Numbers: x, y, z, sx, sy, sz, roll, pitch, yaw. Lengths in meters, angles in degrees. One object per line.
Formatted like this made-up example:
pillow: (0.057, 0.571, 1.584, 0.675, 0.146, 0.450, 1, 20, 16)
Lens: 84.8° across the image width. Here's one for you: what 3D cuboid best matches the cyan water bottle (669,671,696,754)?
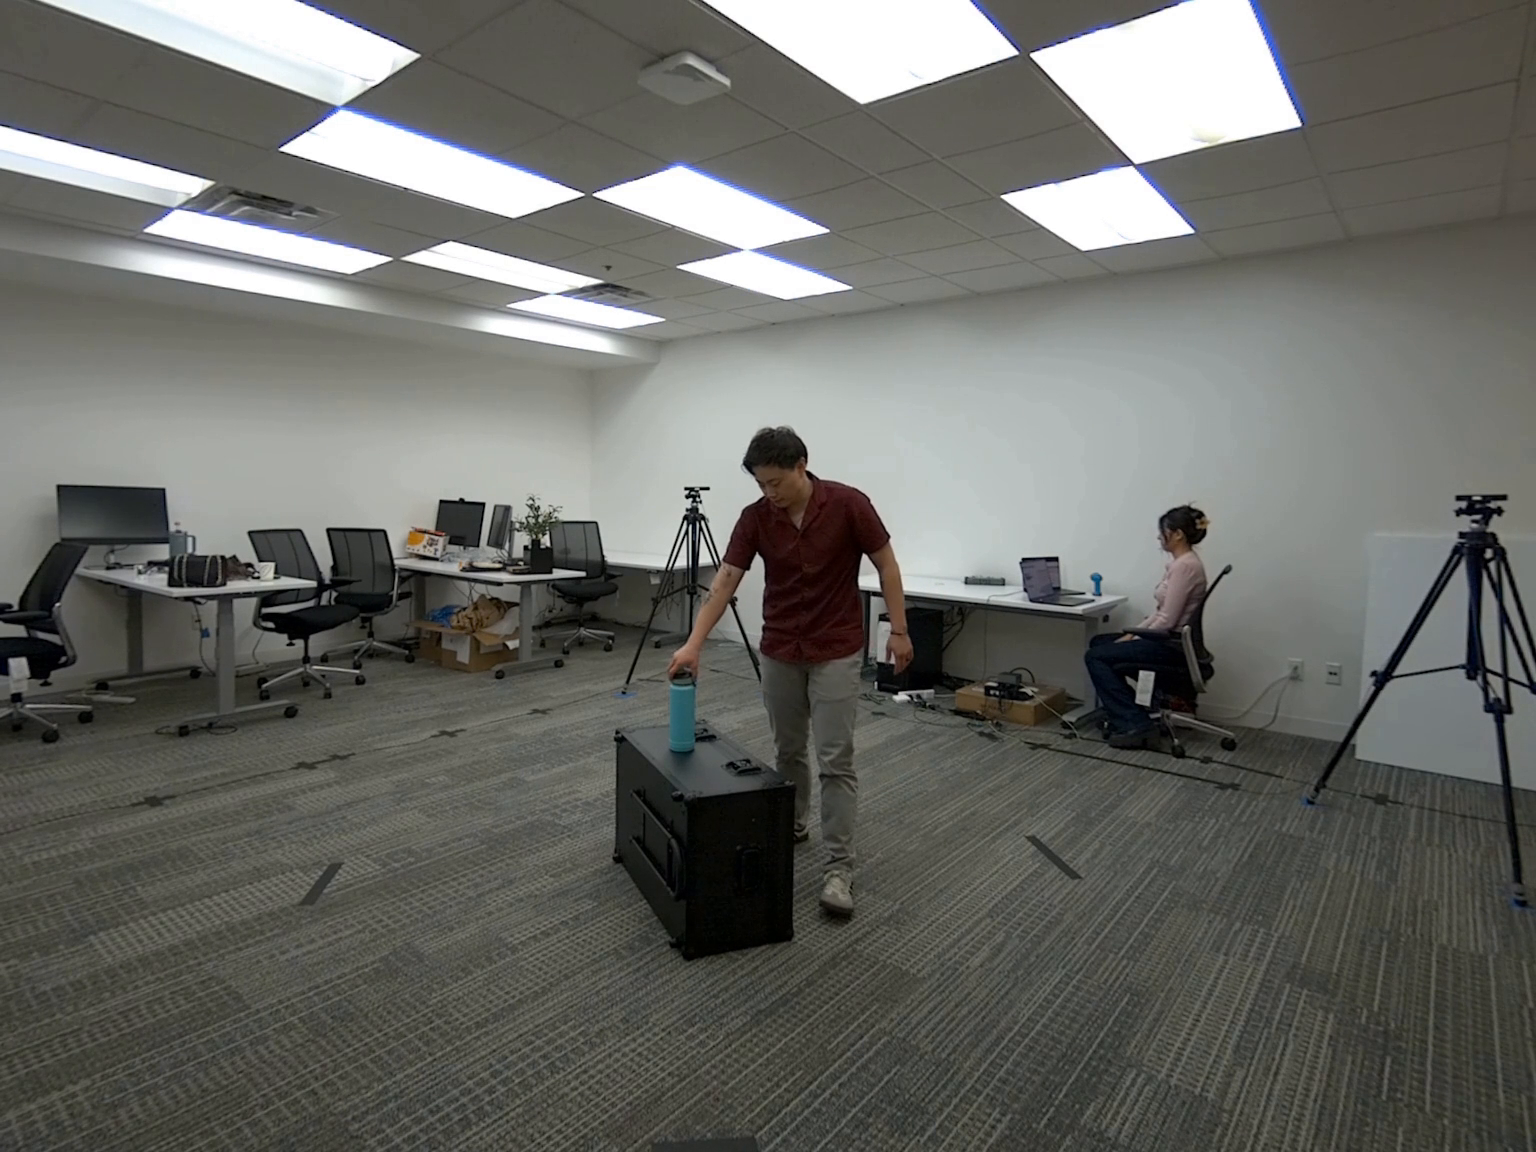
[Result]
cyan water bottle: (-0.306, 0.453, 2.955, 0.092, 0.283, 0.092, 1, 2, -2)
